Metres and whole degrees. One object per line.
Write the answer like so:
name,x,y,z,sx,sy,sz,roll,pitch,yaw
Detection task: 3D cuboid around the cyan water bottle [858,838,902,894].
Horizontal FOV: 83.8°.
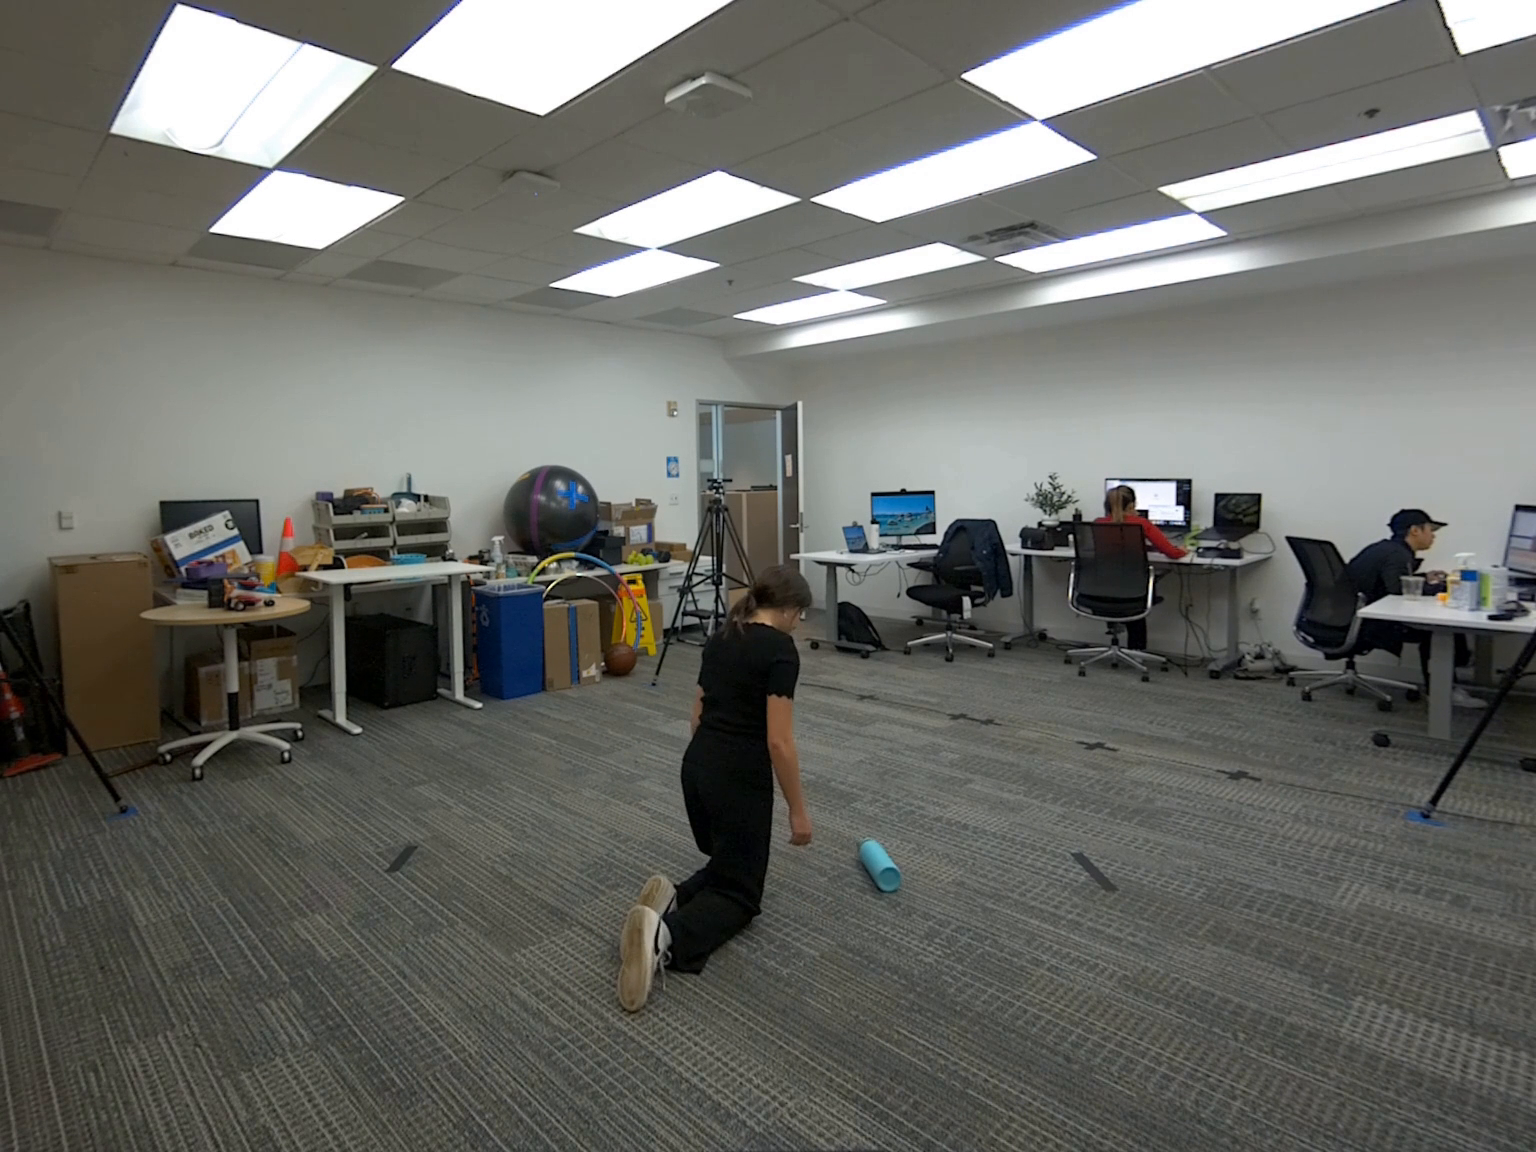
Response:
cyan water bottle,0.385,1.004,3.004,0.092,0.092,0.286,-1,5,-7
